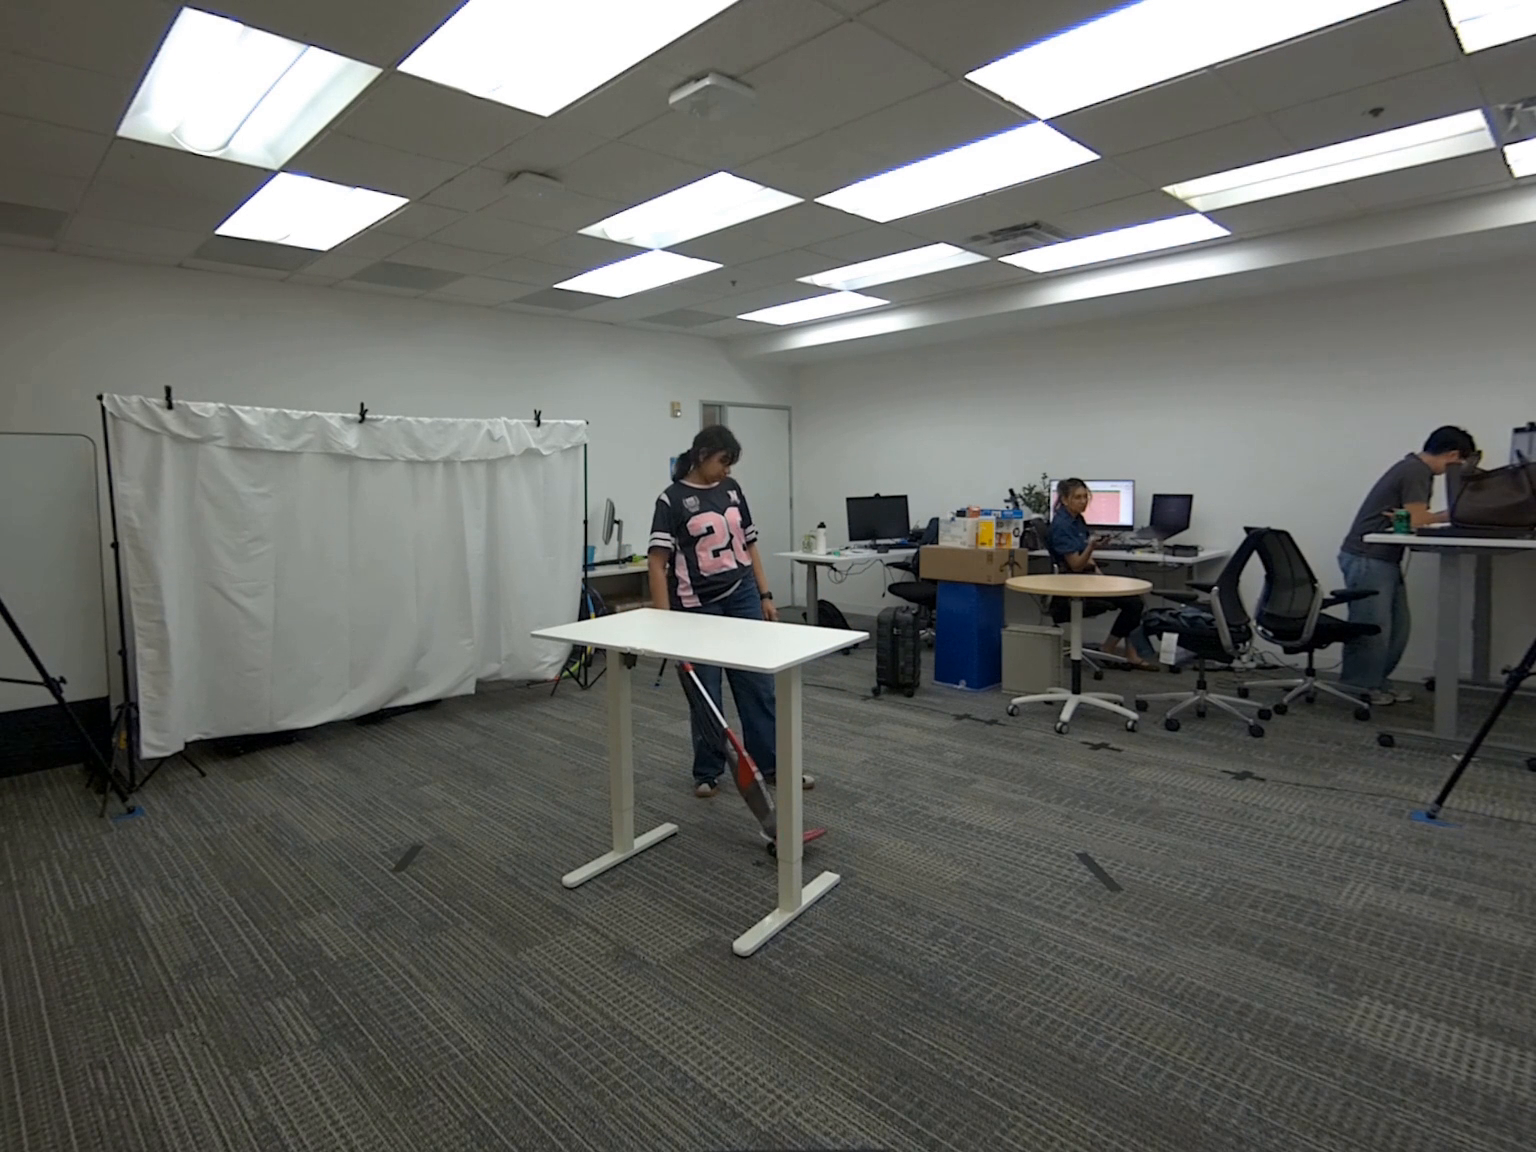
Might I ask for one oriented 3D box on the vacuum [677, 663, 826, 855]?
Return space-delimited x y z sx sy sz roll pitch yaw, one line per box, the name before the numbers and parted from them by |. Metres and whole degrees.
vacuum | -0.193 0.642 3.461 0.245 0.143 1.087 0 42 -45
